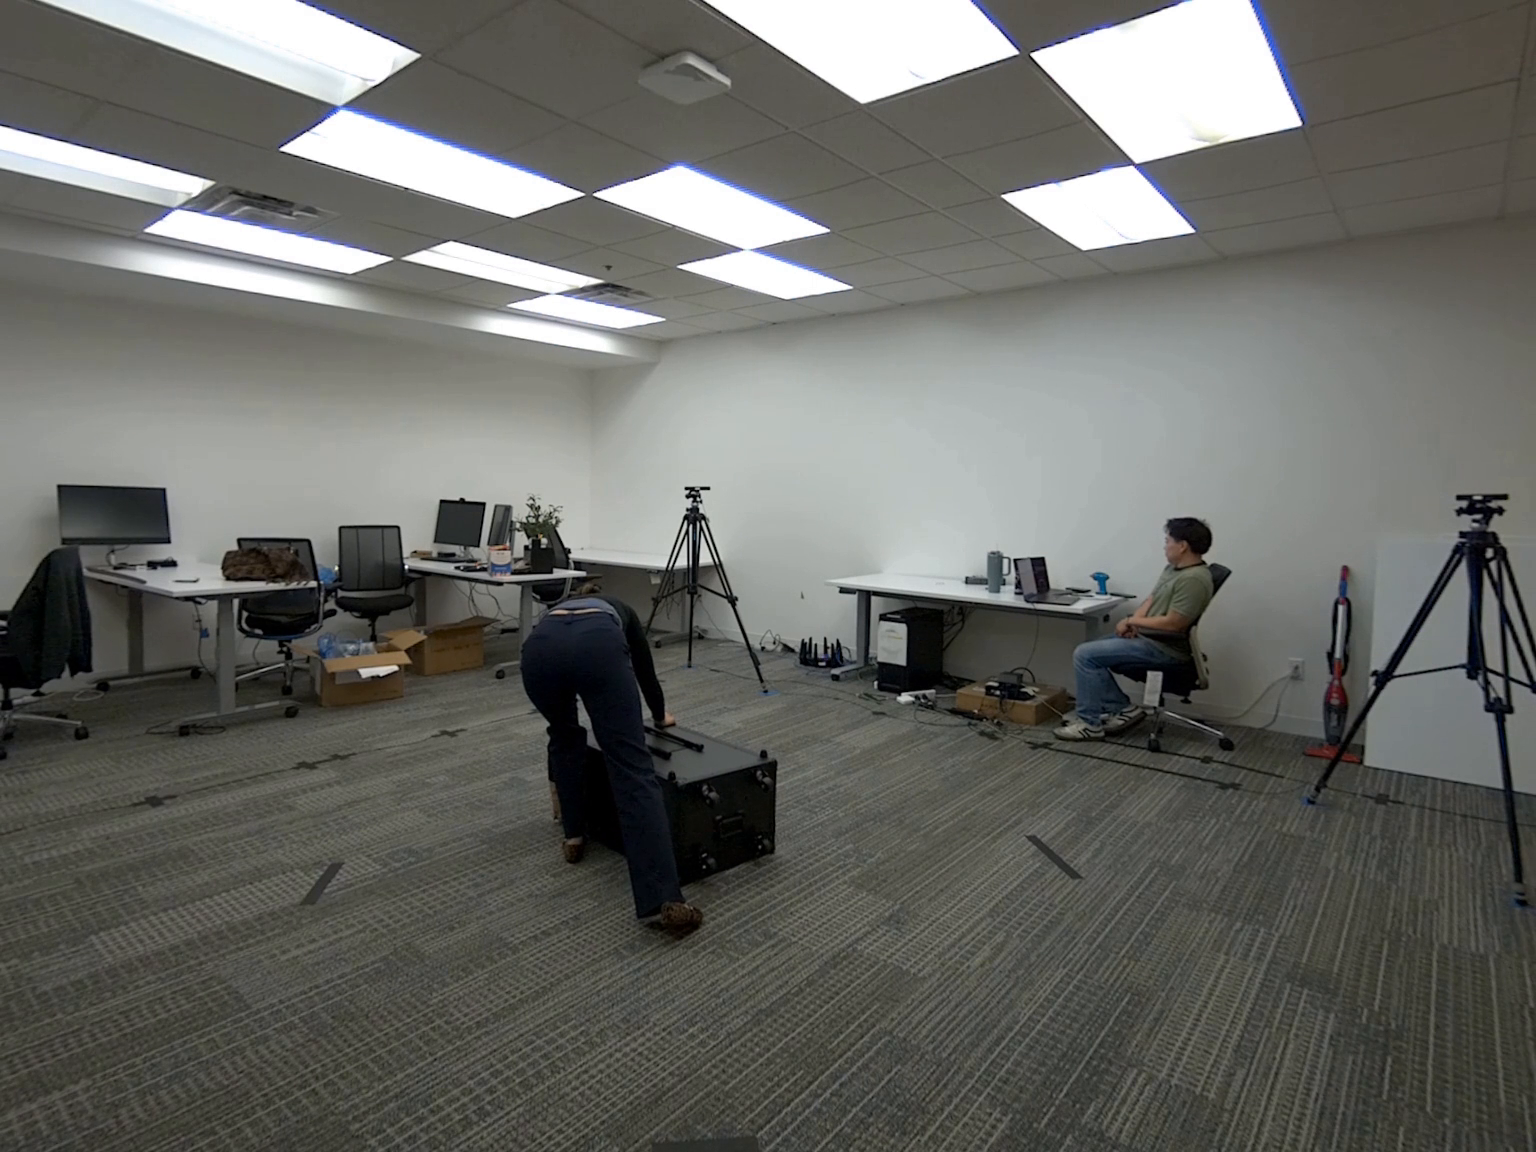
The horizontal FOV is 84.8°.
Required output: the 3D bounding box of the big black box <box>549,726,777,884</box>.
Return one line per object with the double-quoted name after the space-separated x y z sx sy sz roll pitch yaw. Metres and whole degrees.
-0.436 0.861 3.403 0.506 0.395 0.891 -4 7 -43 "big black box"
